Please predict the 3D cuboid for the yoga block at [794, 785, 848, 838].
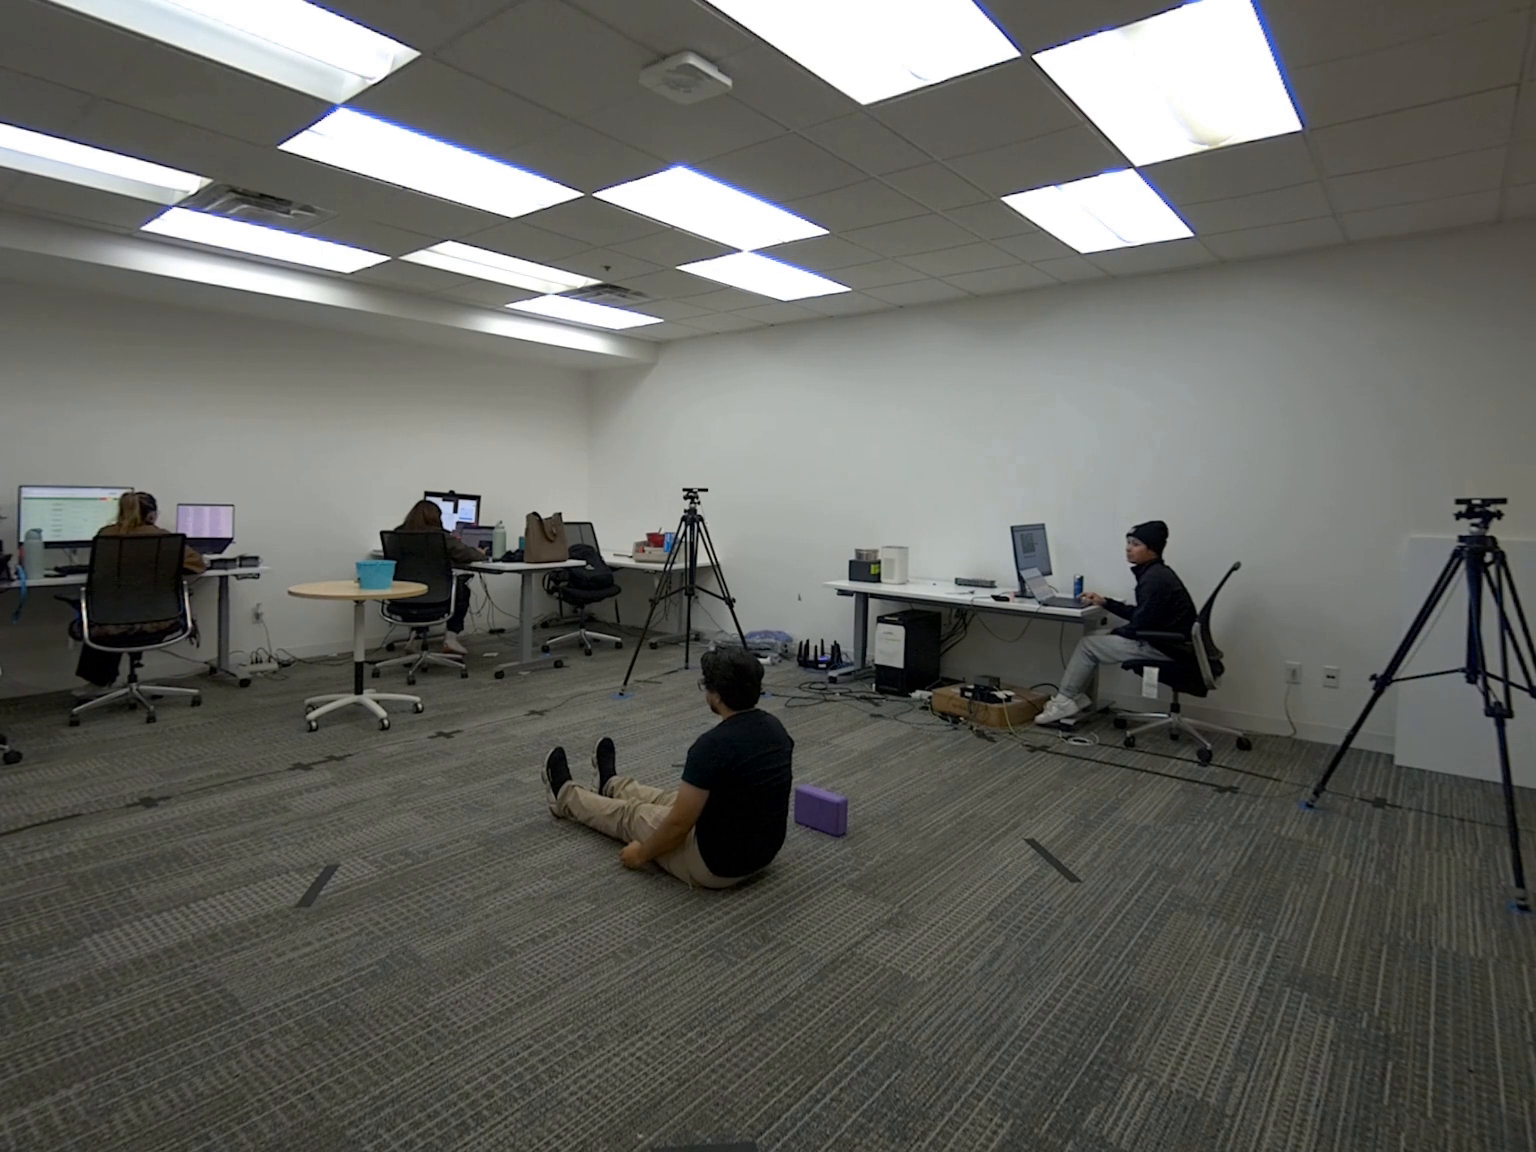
[{"bbox_3d":[0.208,0.961,3.521,0.237,0.148,0.074,5,6,43],"label":"yoga block"}]
